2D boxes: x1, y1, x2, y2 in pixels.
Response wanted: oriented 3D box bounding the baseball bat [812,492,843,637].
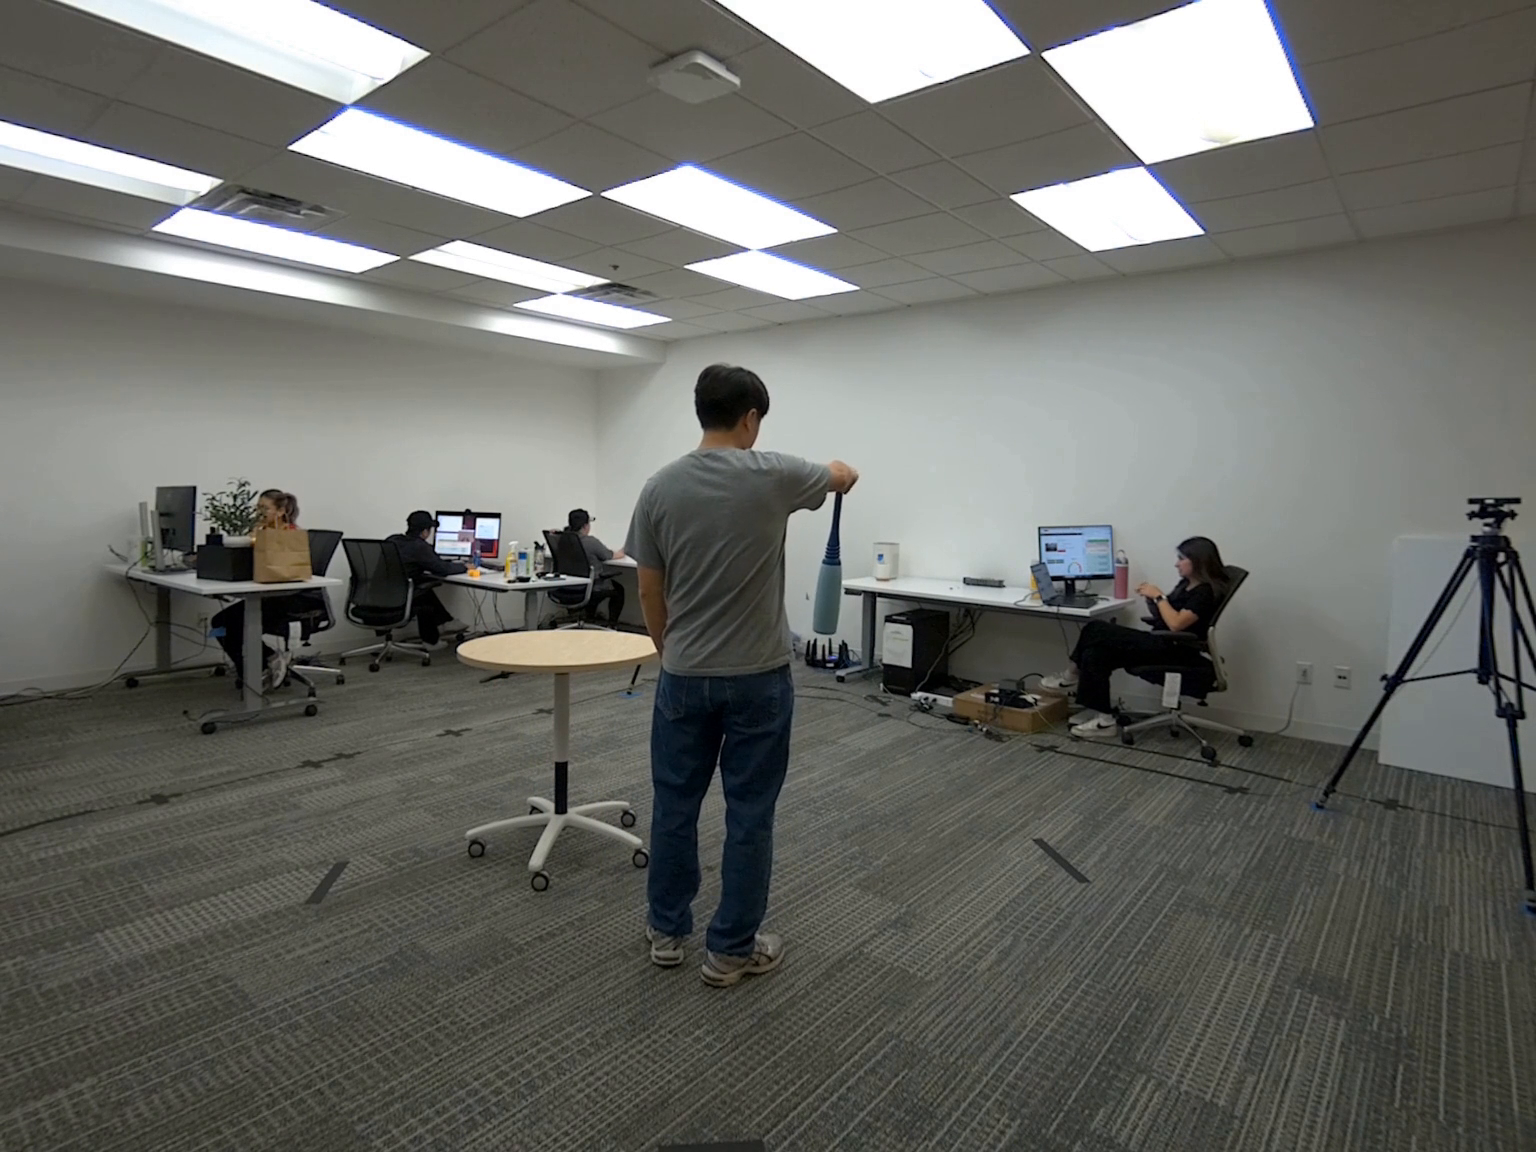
[{"bbox_3d":[0.220,-0.059,2.951,0.089,0.539,0.090,4,8,-3],"label":"baseball bat"}]
